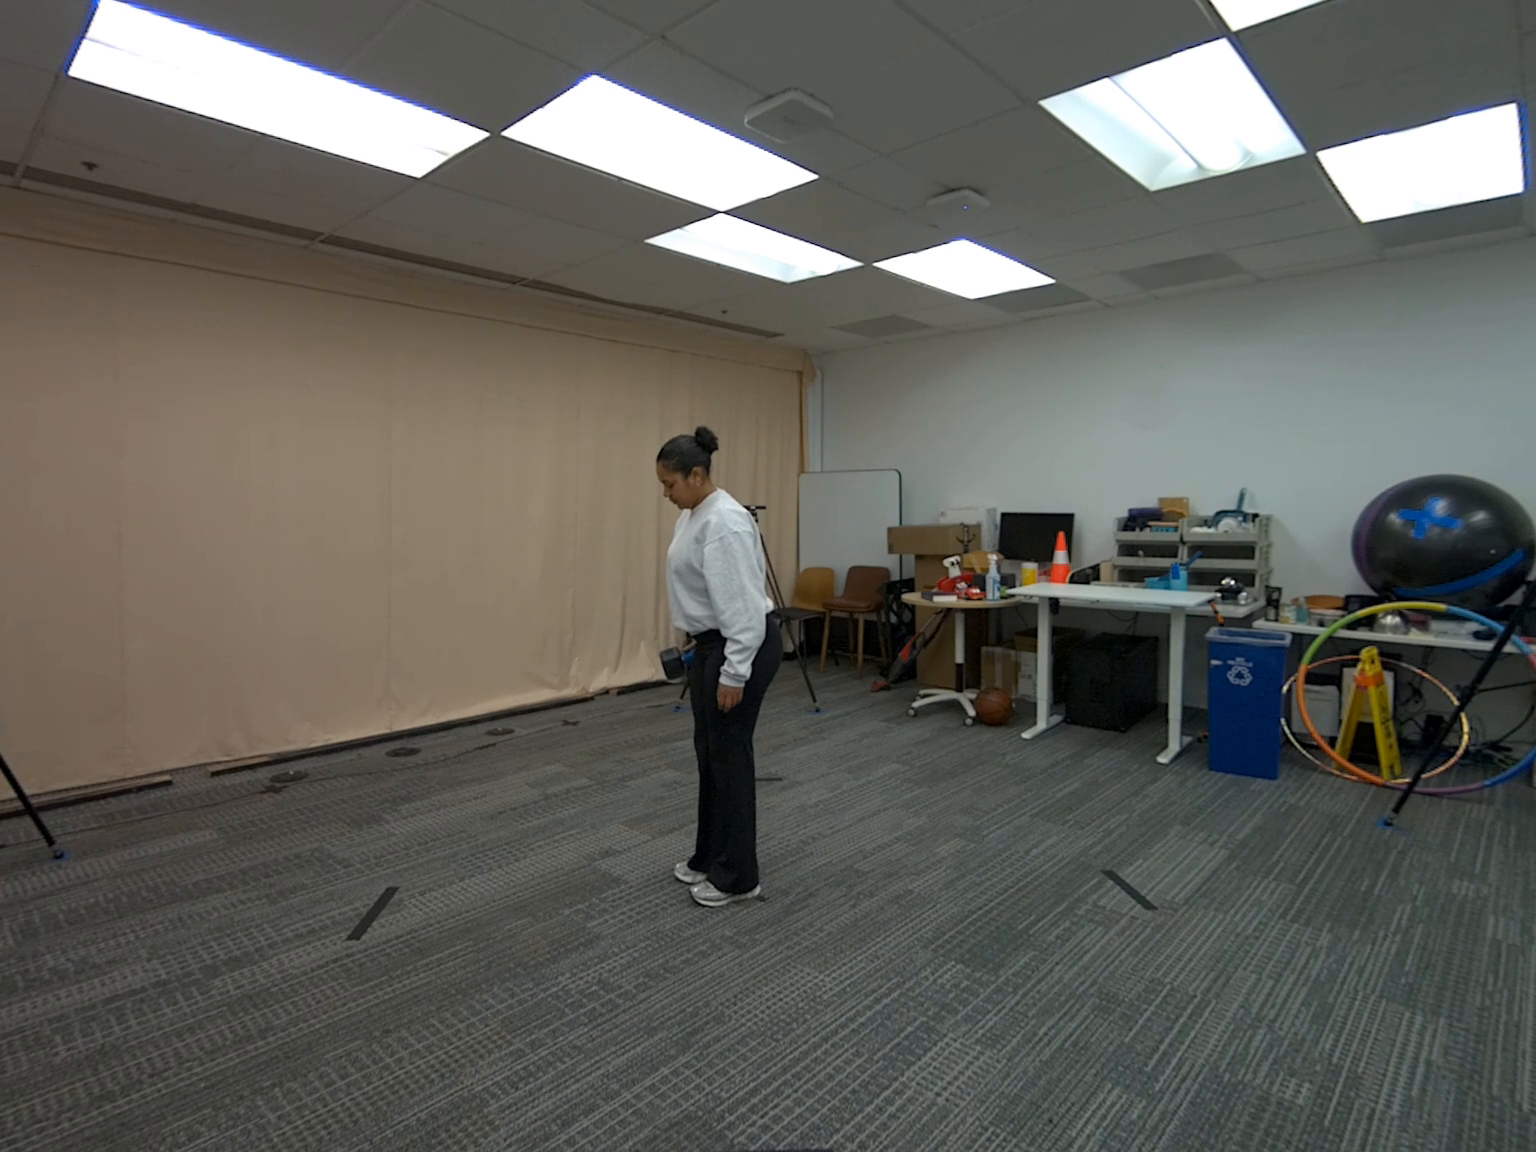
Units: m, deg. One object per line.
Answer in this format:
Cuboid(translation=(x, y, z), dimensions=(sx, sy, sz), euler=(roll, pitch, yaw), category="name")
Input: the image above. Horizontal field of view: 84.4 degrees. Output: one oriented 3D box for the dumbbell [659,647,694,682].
Cuboid(translation=(-0.271, 0.317, 3.292), dimensions=(0.293, 0.122, 0.110), euler=(-17, 8, -4), category="dumbbell")
